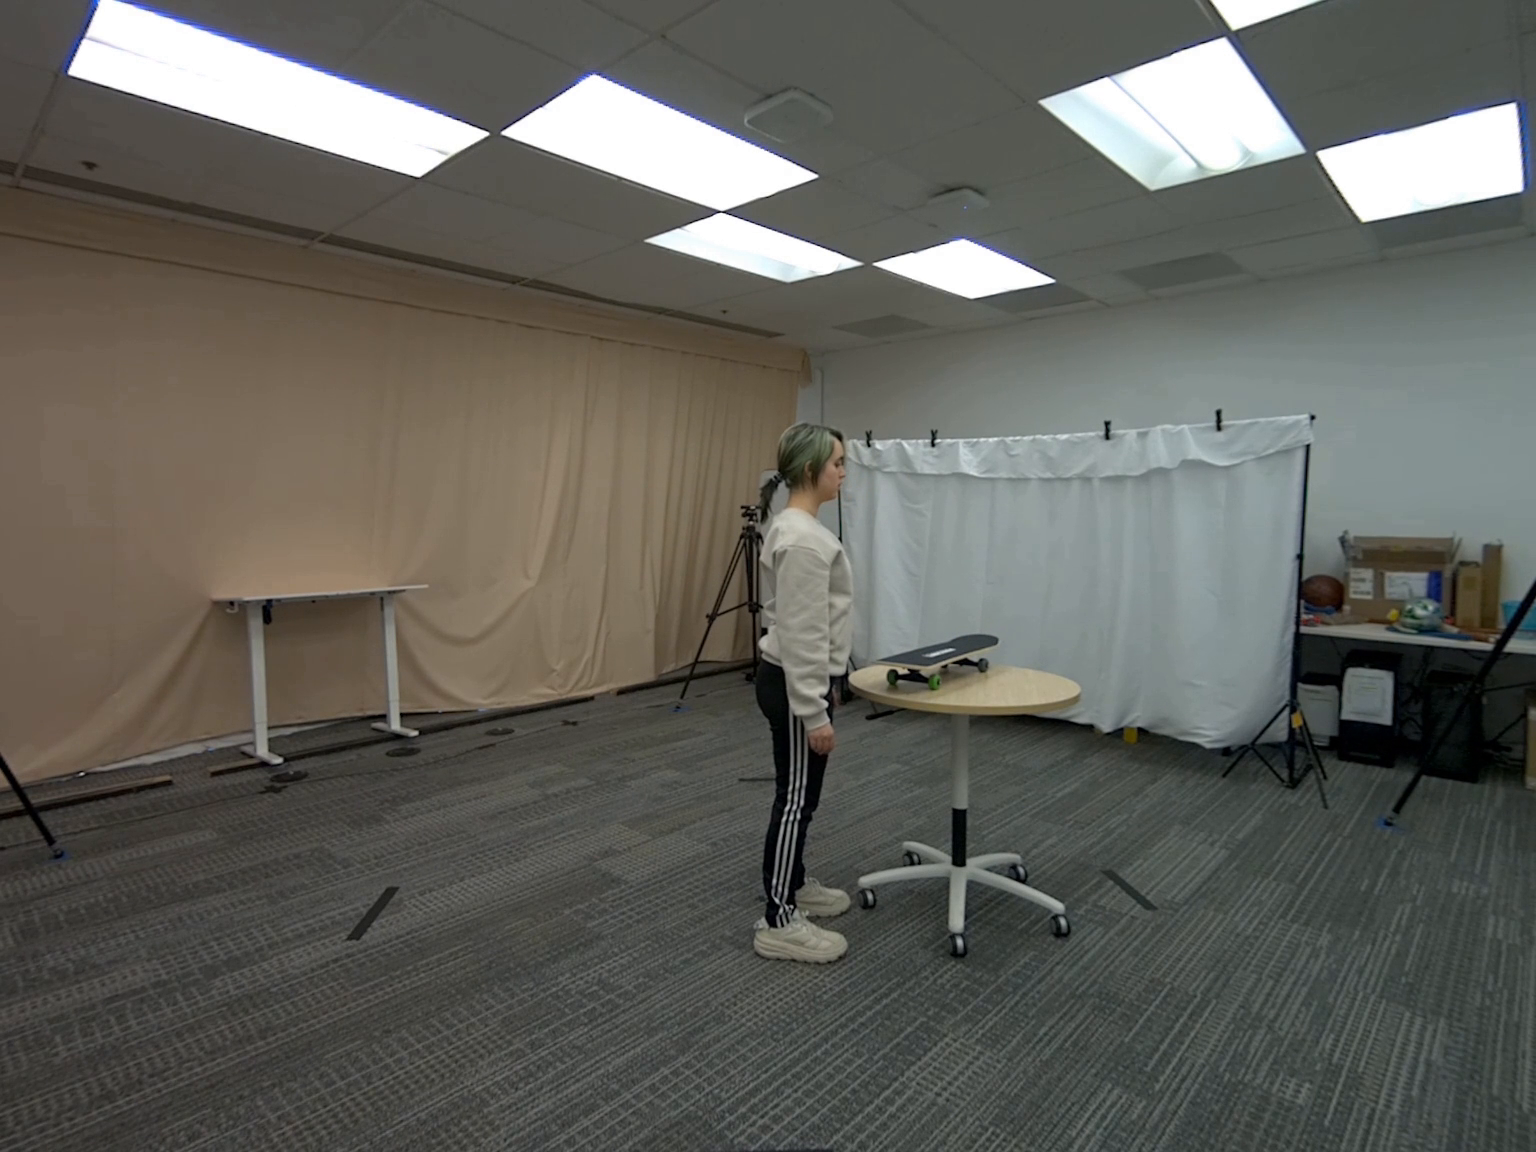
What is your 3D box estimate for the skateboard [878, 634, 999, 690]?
[{"bbox_3d":[0.618,0.311,2.957,0.199,0.110,0.762,0,3,39],"label":"skateboard"}]
